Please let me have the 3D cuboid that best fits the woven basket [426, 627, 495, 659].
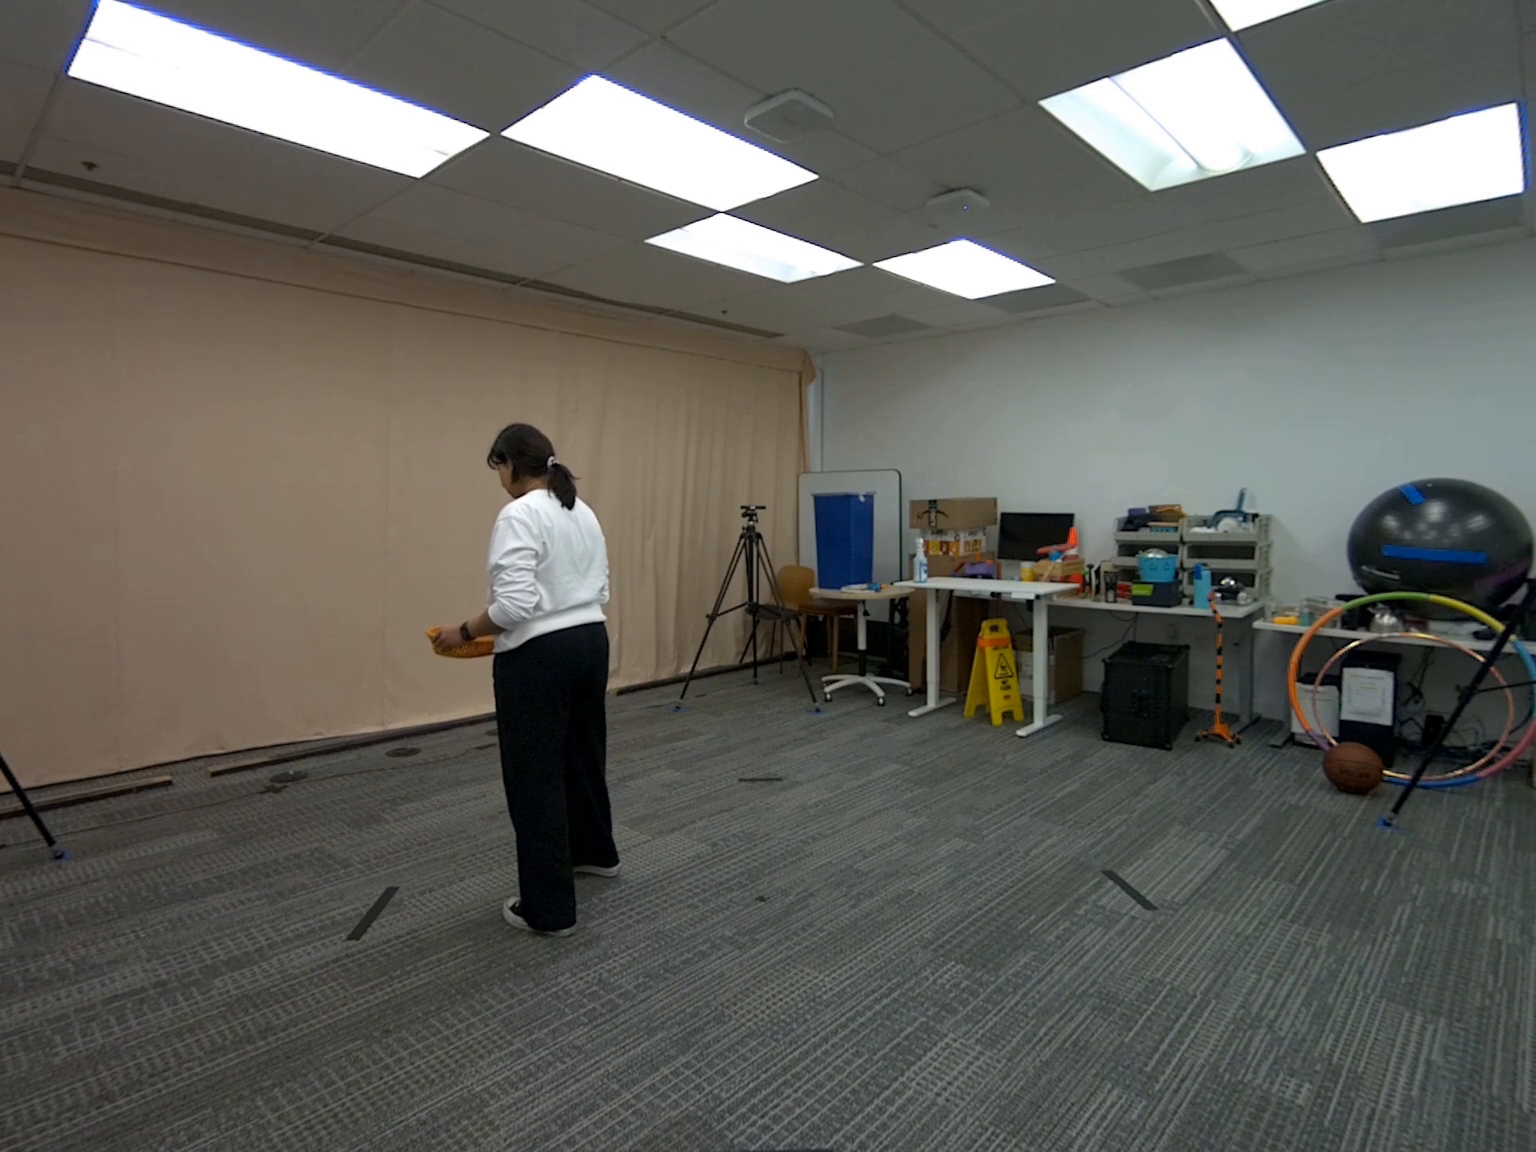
[{"bbox_3d":[-1.009,0.225,2.928,0.260,0.073,0.340,5,4,34],"label":"woven basket"}]
